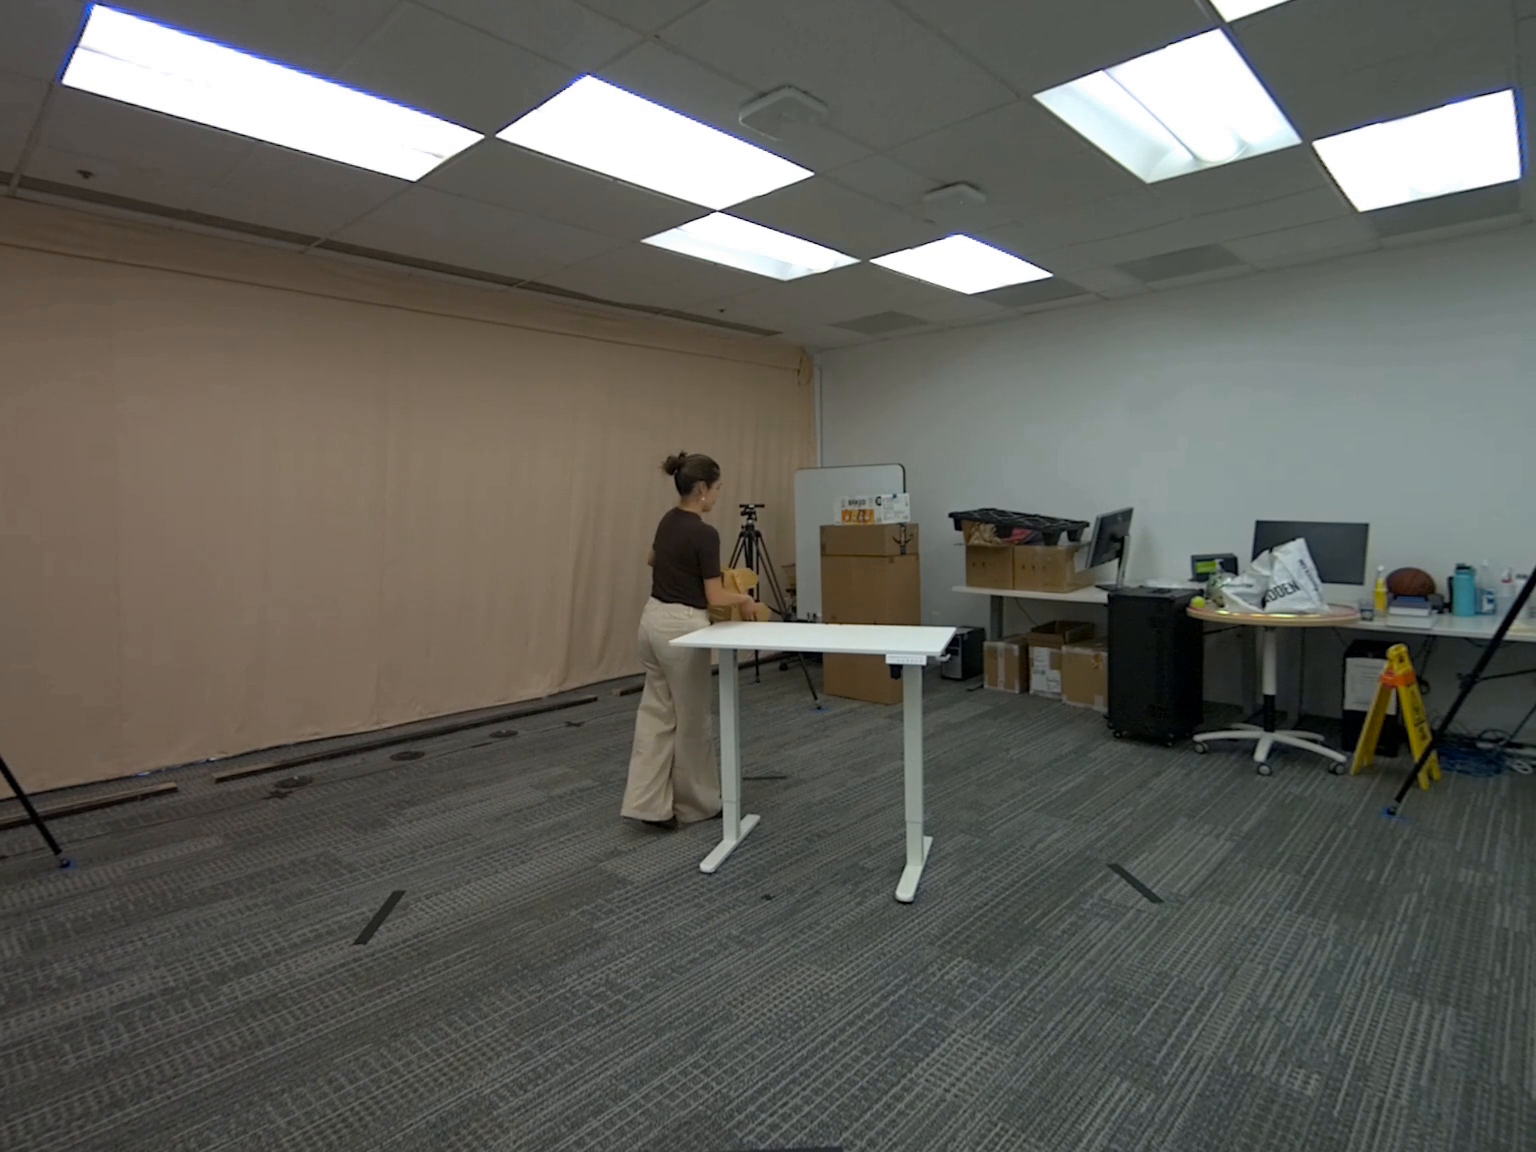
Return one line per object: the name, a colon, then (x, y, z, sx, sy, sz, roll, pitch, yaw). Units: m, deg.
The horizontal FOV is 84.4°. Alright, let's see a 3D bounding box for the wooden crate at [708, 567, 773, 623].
wooden crate: (-0.185, 0.061, 3.894, 0.293, 0.271, 0.336, -8, 14, -39)
